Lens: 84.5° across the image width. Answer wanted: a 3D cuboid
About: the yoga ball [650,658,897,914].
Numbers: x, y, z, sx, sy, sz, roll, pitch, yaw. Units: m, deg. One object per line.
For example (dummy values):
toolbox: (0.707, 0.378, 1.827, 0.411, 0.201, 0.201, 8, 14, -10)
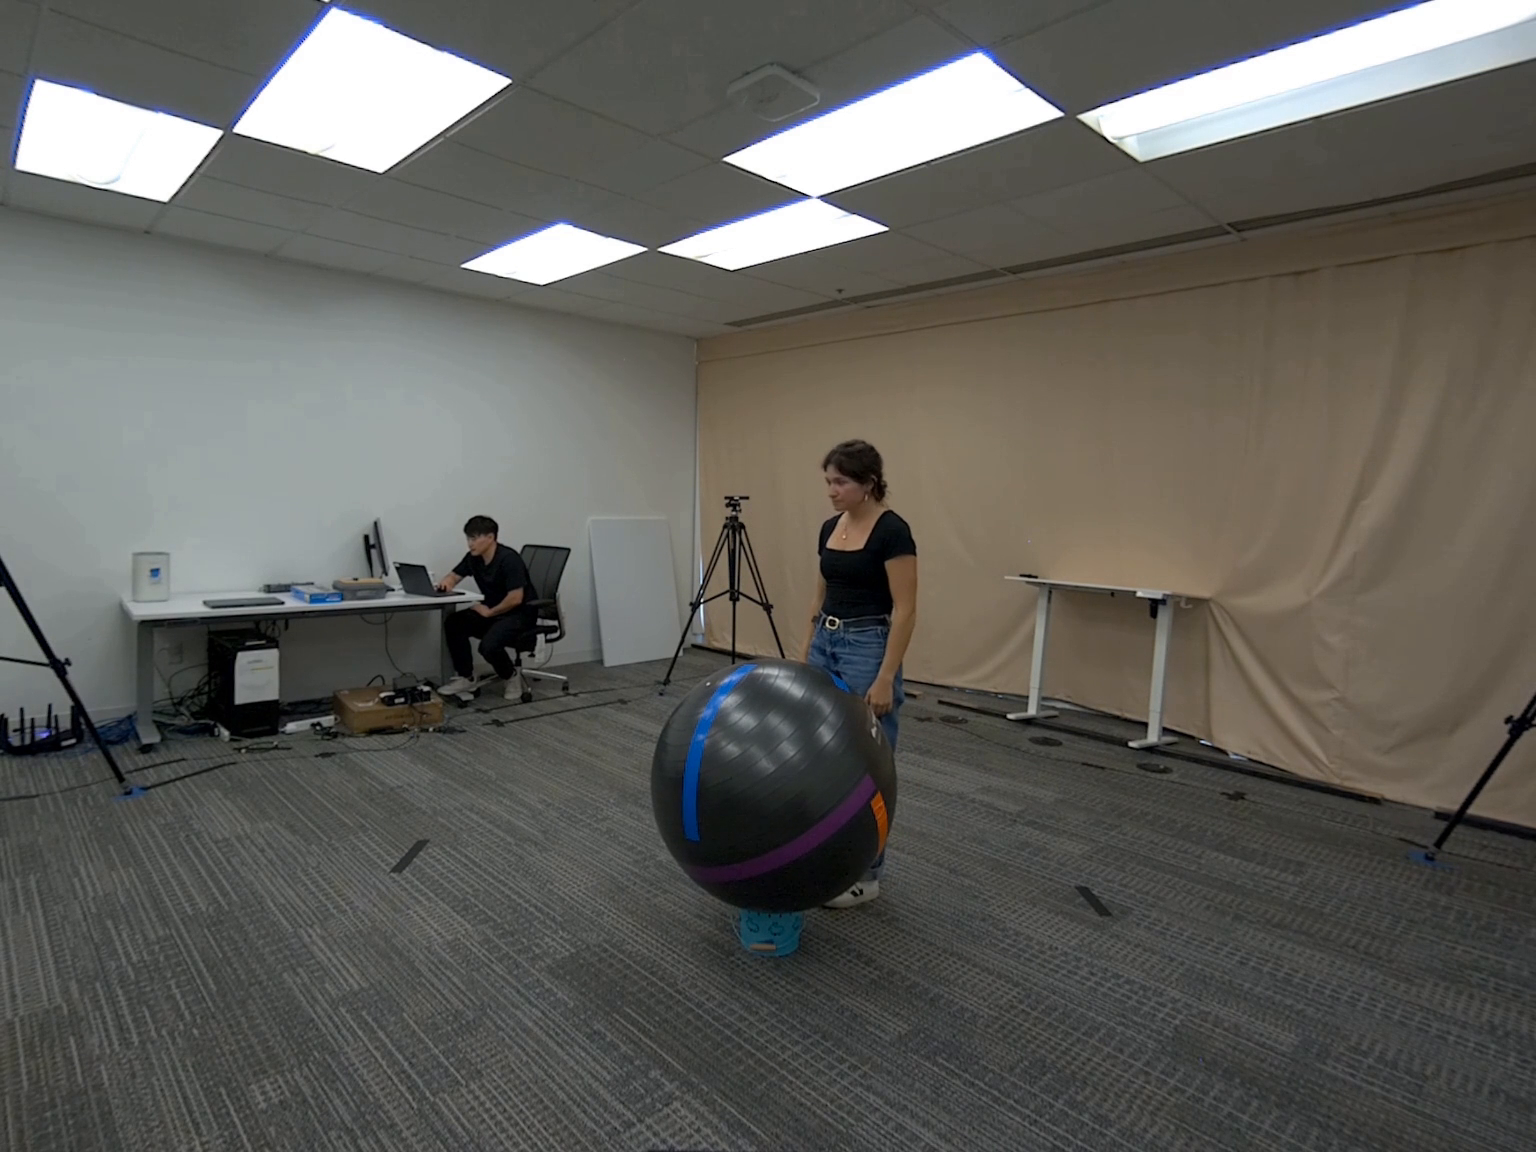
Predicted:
yoga ball: (0.012, 0.645, 2.593, 0.757, 0.756, 0.761, 1, 4, -1)
